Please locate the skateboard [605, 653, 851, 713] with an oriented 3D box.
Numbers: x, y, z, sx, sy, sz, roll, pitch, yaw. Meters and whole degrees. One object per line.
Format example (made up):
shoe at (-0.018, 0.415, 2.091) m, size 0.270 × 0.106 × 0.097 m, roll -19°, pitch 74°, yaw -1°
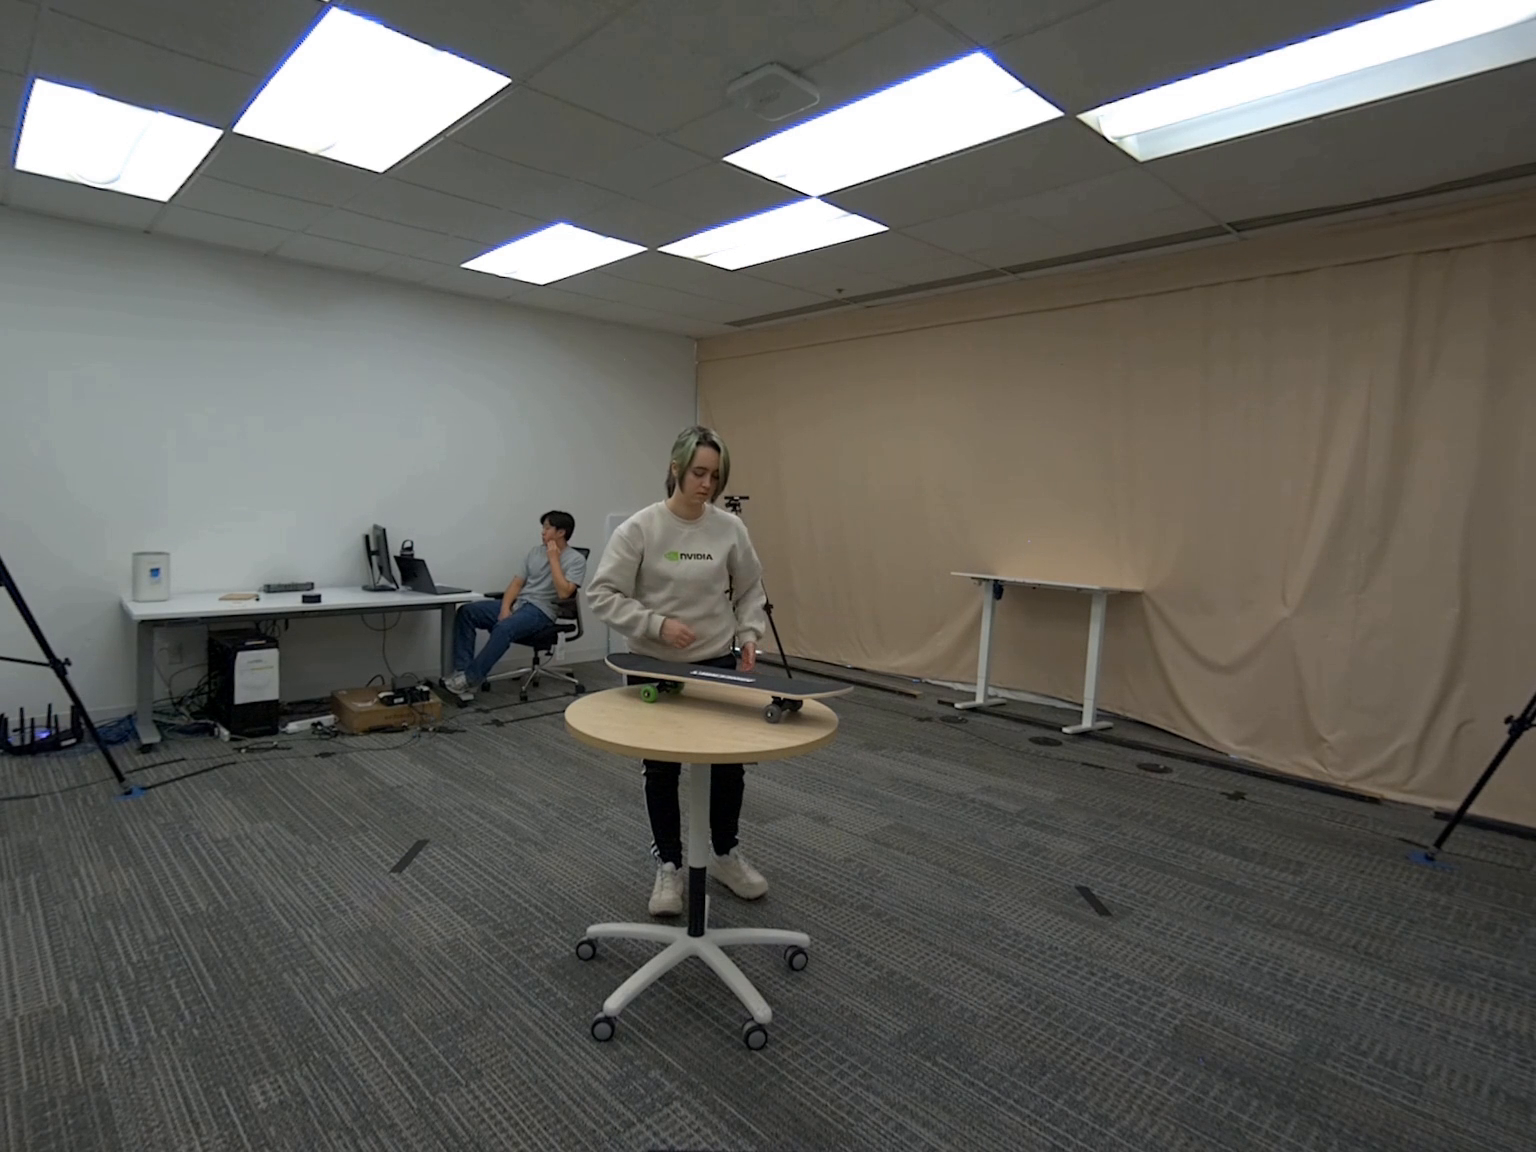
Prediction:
skateboard at (-0.149, 0.333, 2.443) m, size 0.802 × 0.110 × 0.190 m, roll 5°, pitch 3°, yaw 28°
